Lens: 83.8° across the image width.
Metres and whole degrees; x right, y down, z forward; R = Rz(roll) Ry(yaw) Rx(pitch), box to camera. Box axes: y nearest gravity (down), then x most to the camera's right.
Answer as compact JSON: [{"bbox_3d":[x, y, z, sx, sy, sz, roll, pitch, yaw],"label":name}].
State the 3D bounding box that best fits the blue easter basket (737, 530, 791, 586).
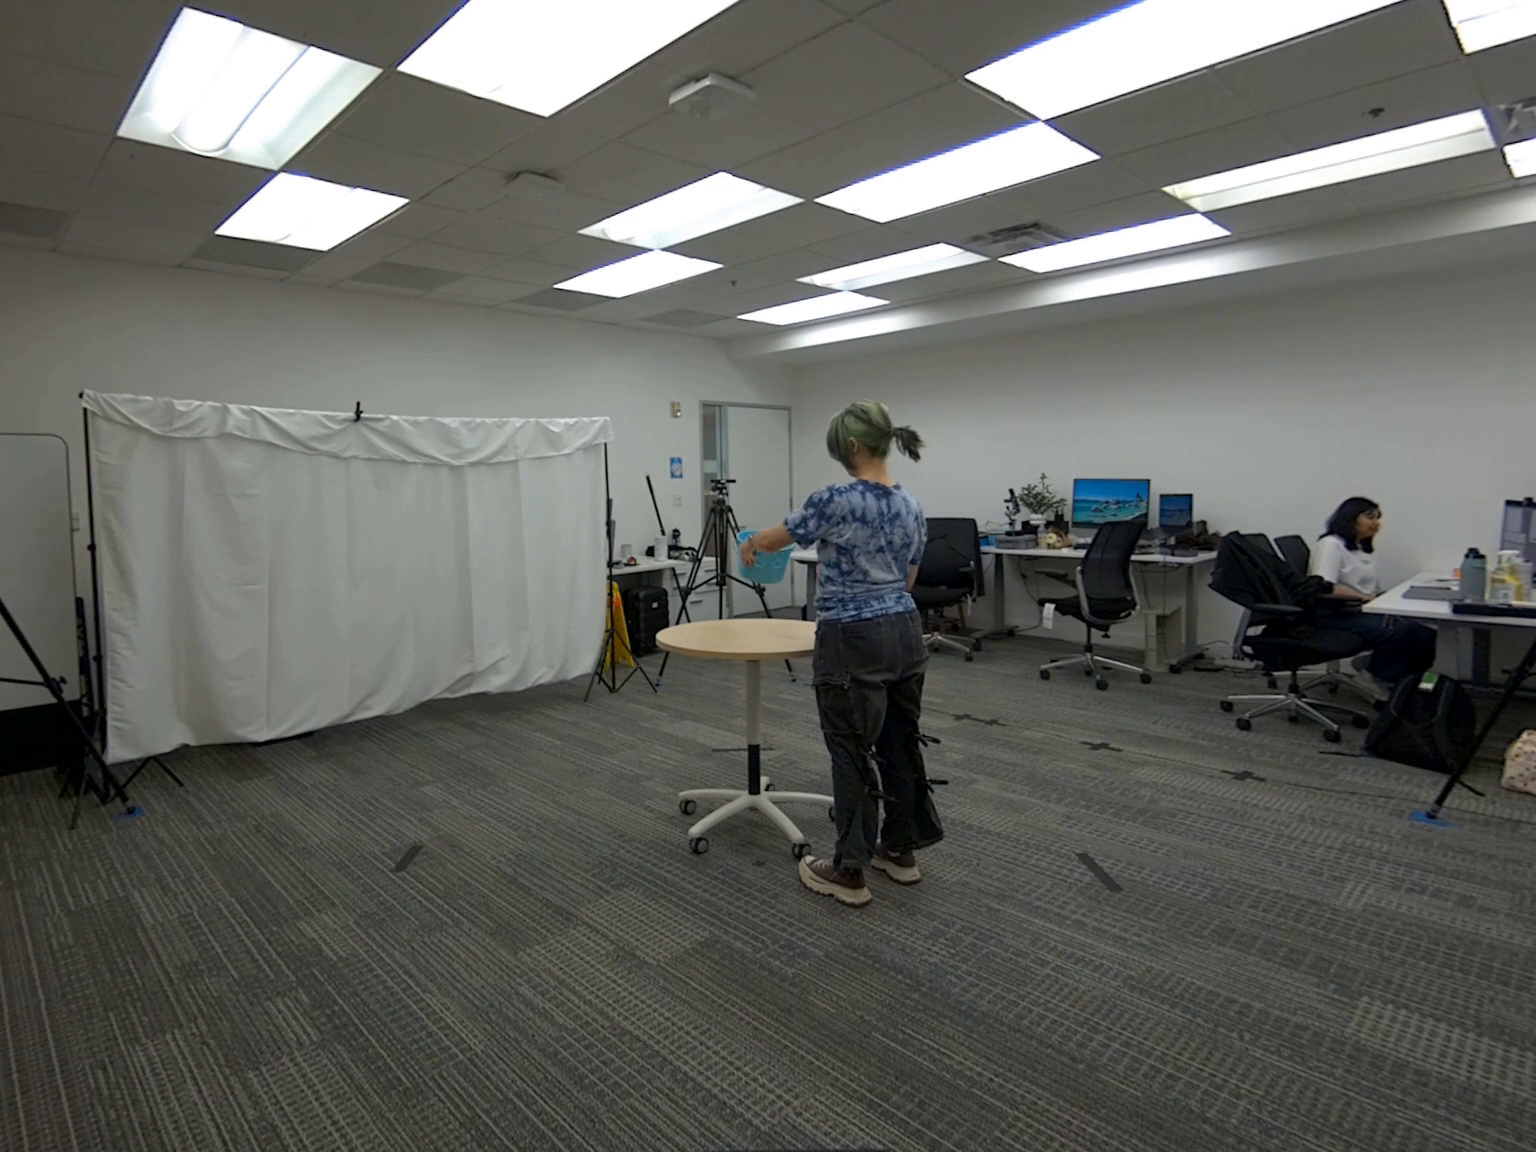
[{"bbox_3d":[-0.010,-0.071,3.397,0.243,0.154,0.247,6,18,-3],"label":"blue easter basket"}]
